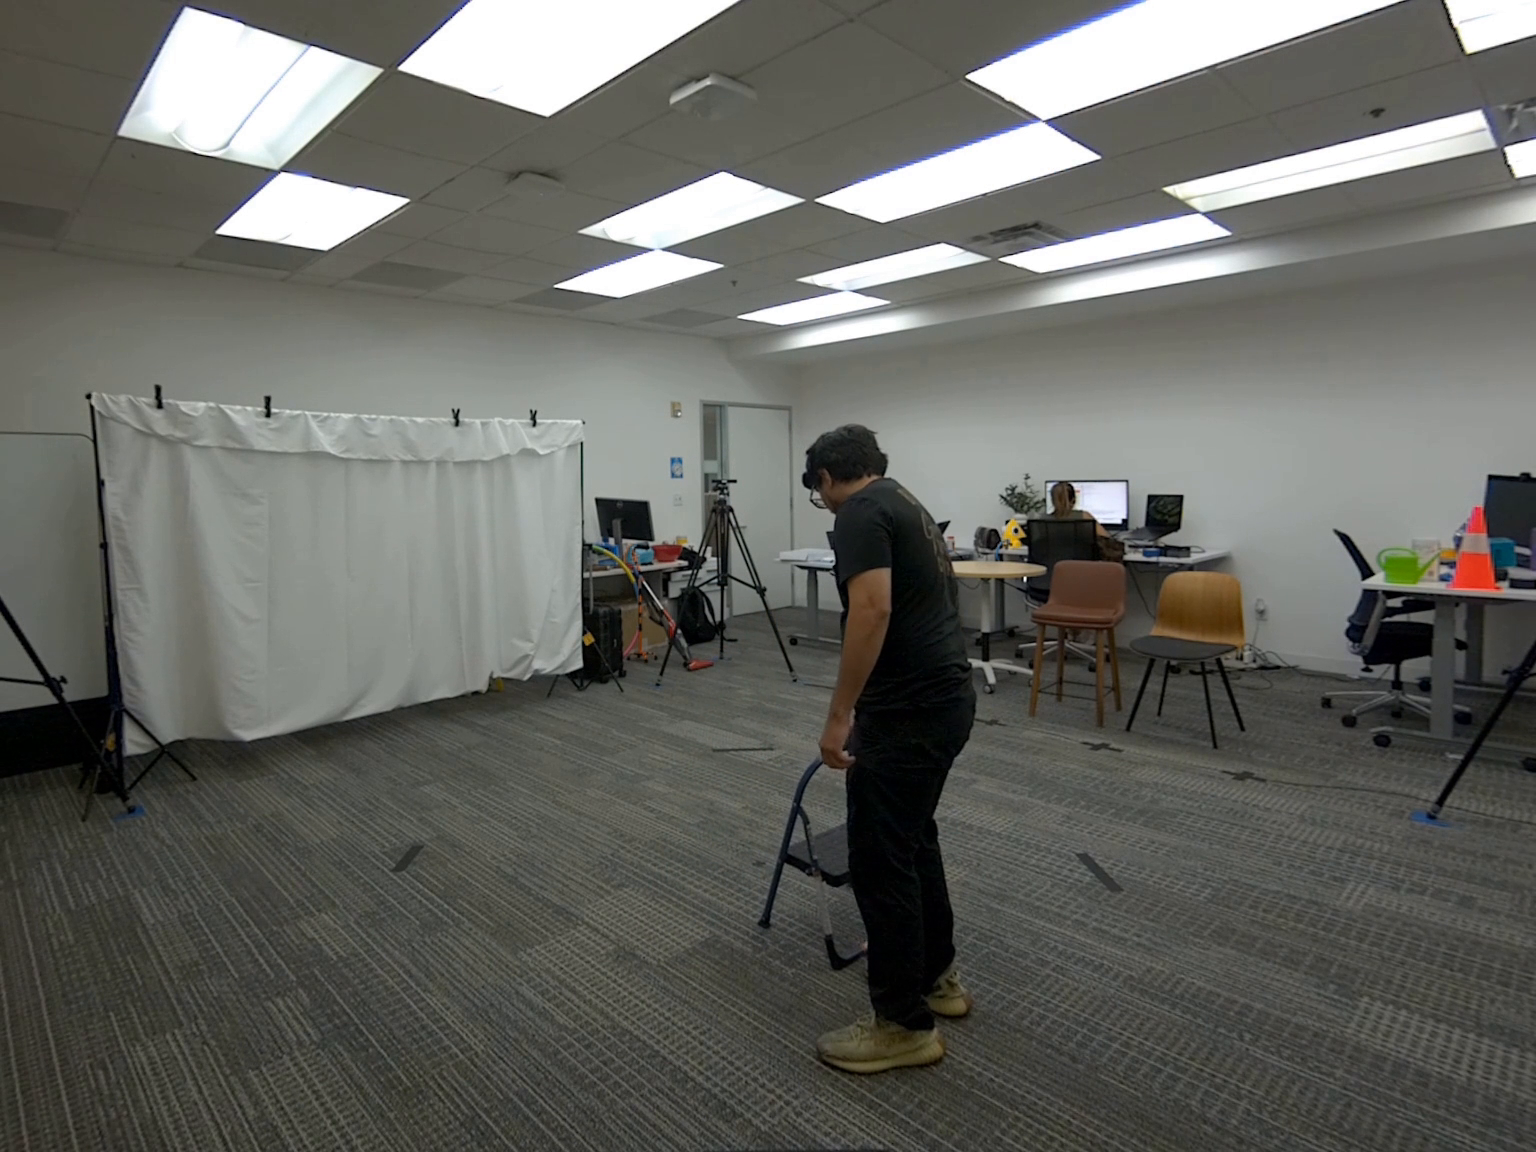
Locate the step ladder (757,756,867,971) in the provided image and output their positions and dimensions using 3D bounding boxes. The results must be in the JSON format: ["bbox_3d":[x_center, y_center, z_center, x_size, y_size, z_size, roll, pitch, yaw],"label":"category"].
[{"bbox_3d":[0.229,0.787,2.652,0.420,0.603,0.360,-8,7,-39],"label":"step ladder"}]
